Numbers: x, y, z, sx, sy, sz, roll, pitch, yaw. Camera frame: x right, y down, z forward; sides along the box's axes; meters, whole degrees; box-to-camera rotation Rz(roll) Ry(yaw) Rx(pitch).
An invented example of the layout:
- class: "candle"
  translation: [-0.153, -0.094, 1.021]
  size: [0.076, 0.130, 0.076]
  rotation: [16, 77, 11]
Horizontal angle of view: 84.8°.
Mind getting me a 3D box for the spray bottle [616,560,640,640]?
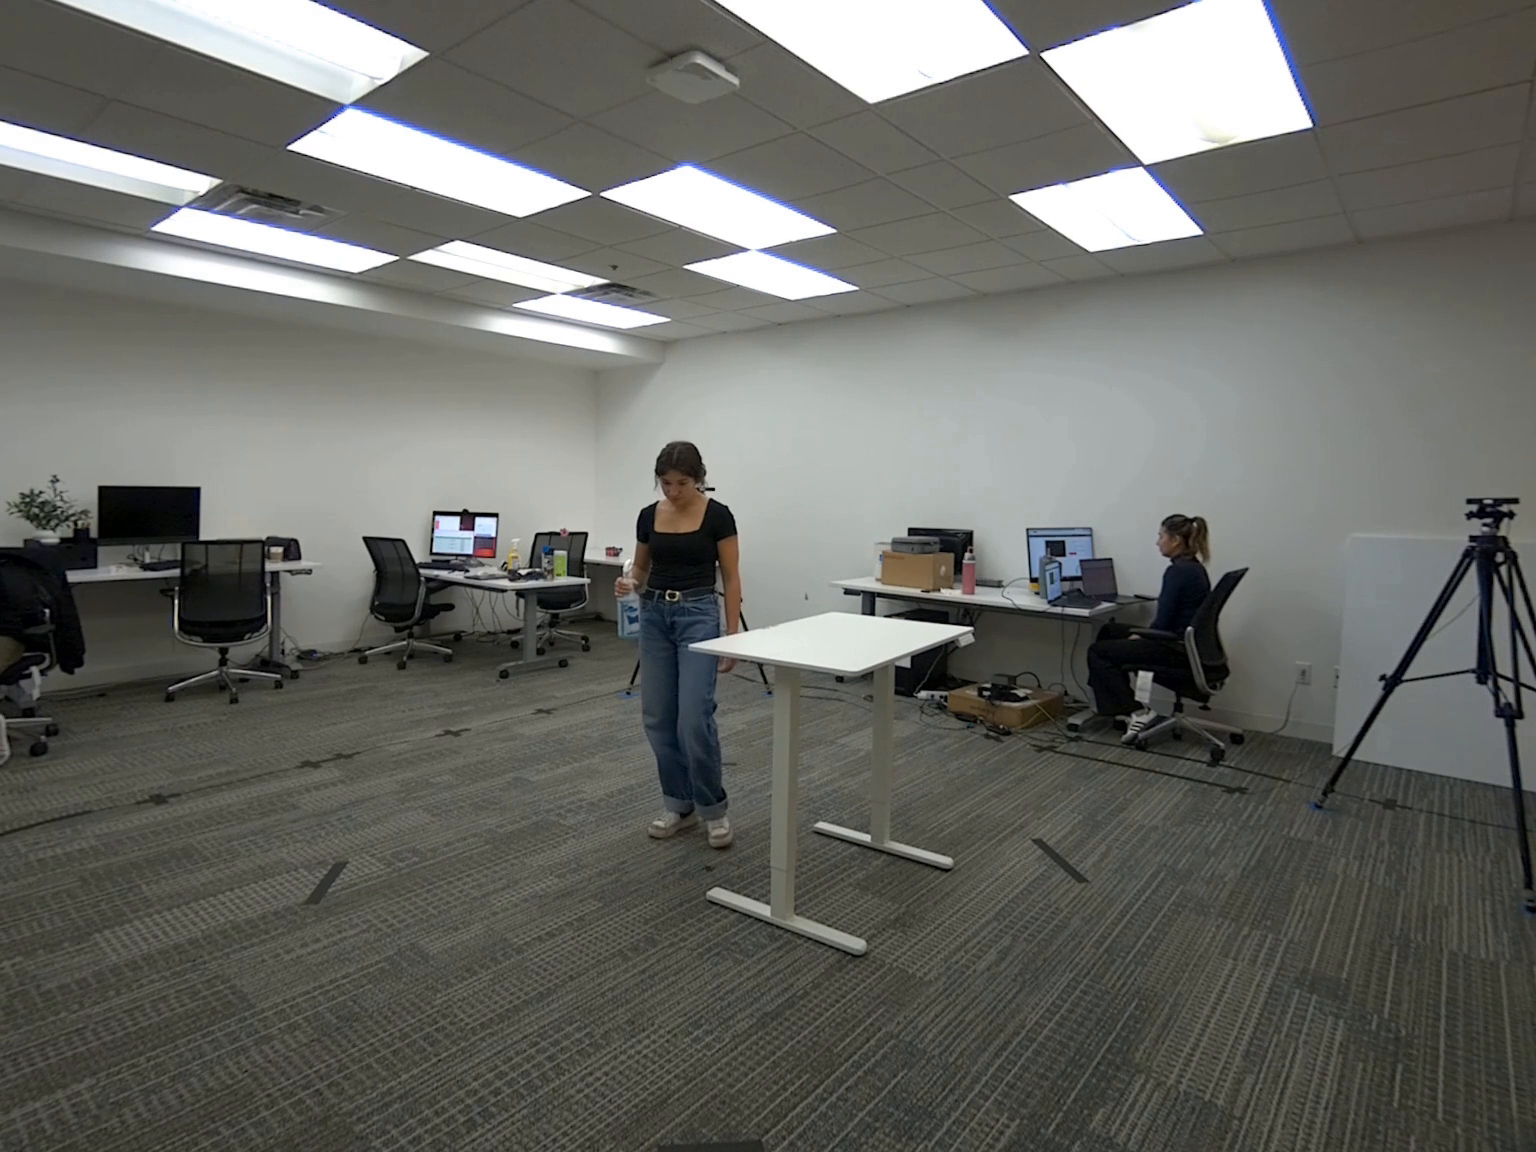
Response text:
- class: "spray bottle"
  translation: [-0.547, 0.090, 3.296]
  size: [0.089, 0.295, 0.088]
  rotation: [3, 8, 22]
